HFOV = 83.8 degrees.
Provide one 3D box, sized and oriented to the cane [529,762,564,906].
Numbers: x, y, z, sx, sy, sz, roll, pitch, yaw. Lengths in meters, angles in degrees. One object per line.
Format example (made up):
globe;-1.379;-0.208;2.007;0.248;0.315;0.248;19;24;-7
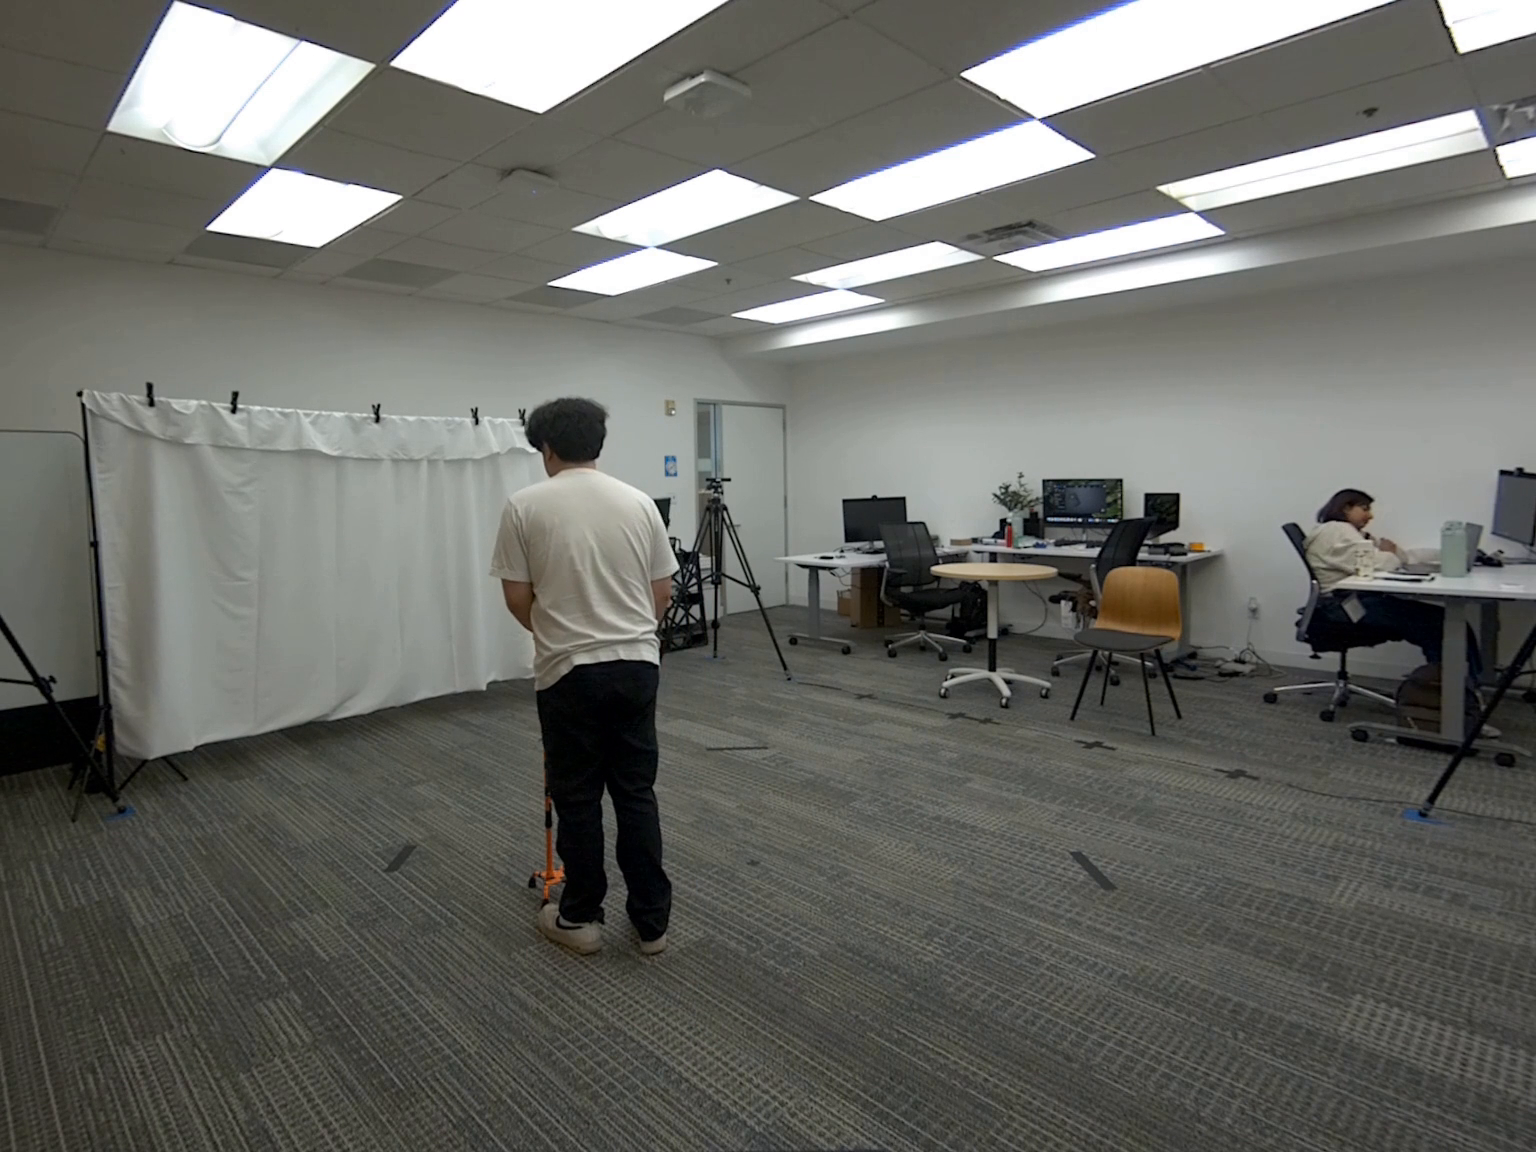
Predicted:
cane;-0.726;0.629;2.875;0.148;0.905;0.212;-4;4;-28
